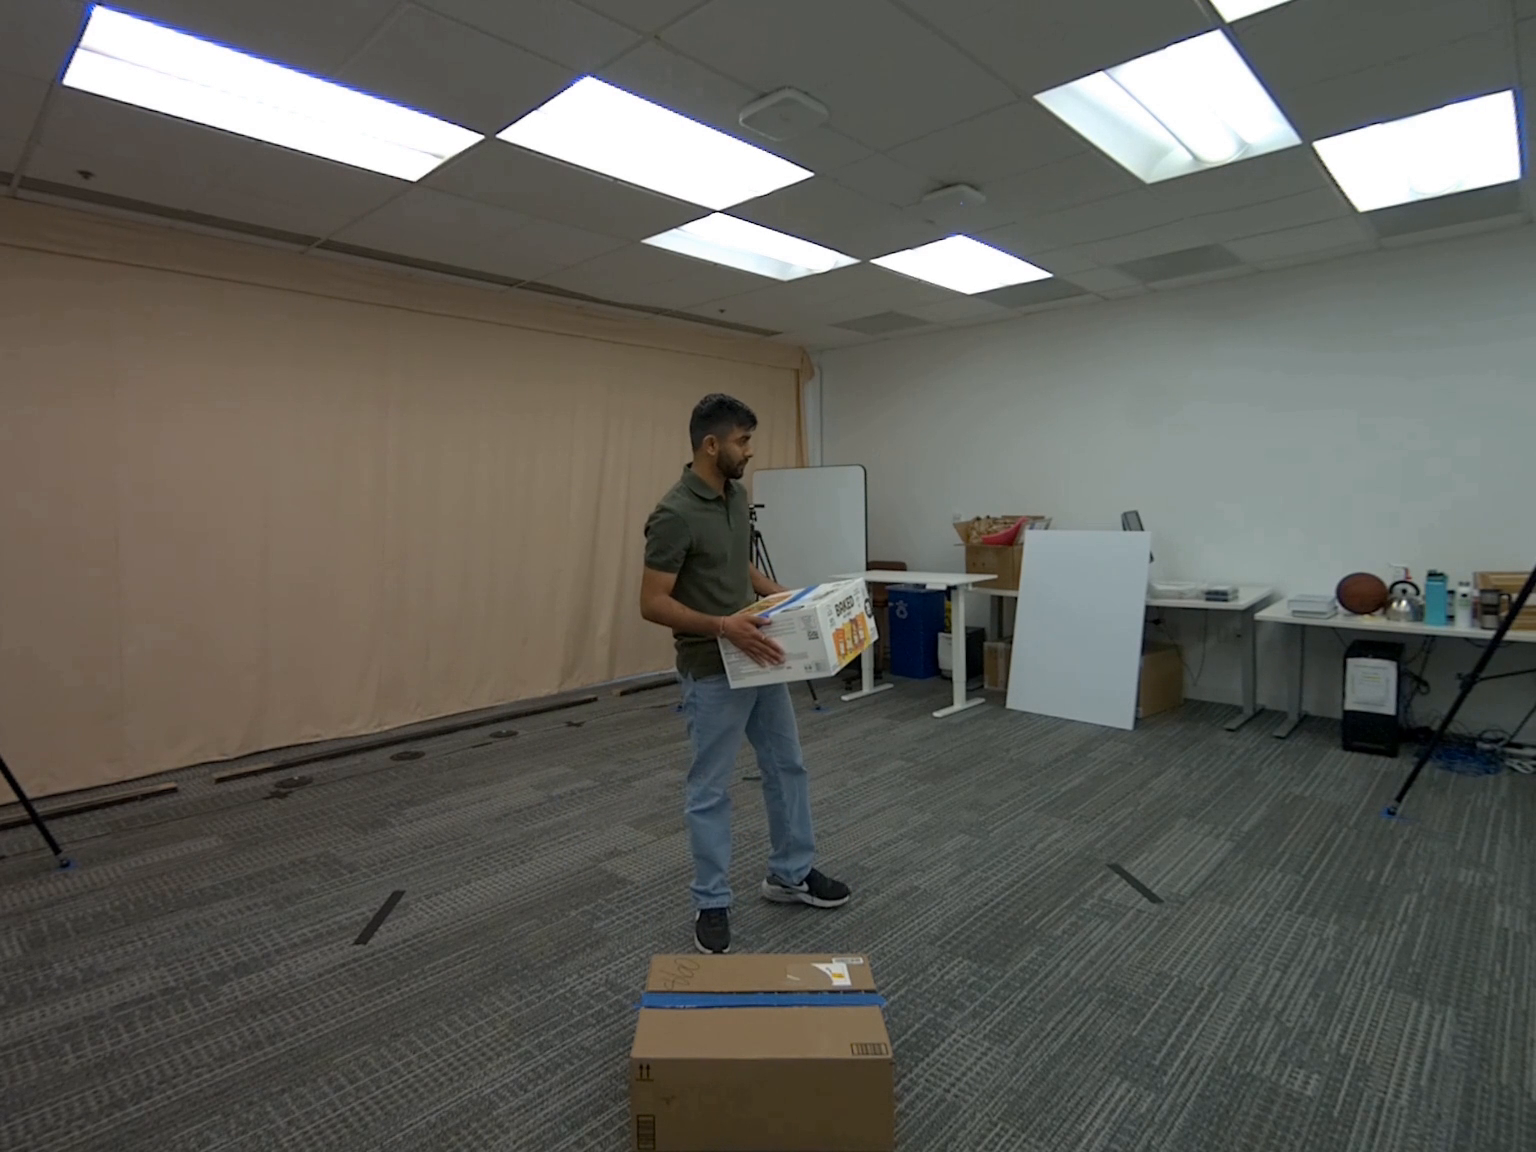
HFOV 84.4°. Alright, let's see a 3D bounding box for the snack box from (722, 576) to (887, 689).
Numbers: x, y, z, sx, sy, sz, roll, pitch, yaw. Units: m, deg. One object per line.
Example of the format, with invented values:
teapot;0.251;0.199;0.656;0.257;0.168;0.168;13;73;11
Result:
snack box;0.113;0.166;2.574;0.348;0.205;0.397;-12;5;28
